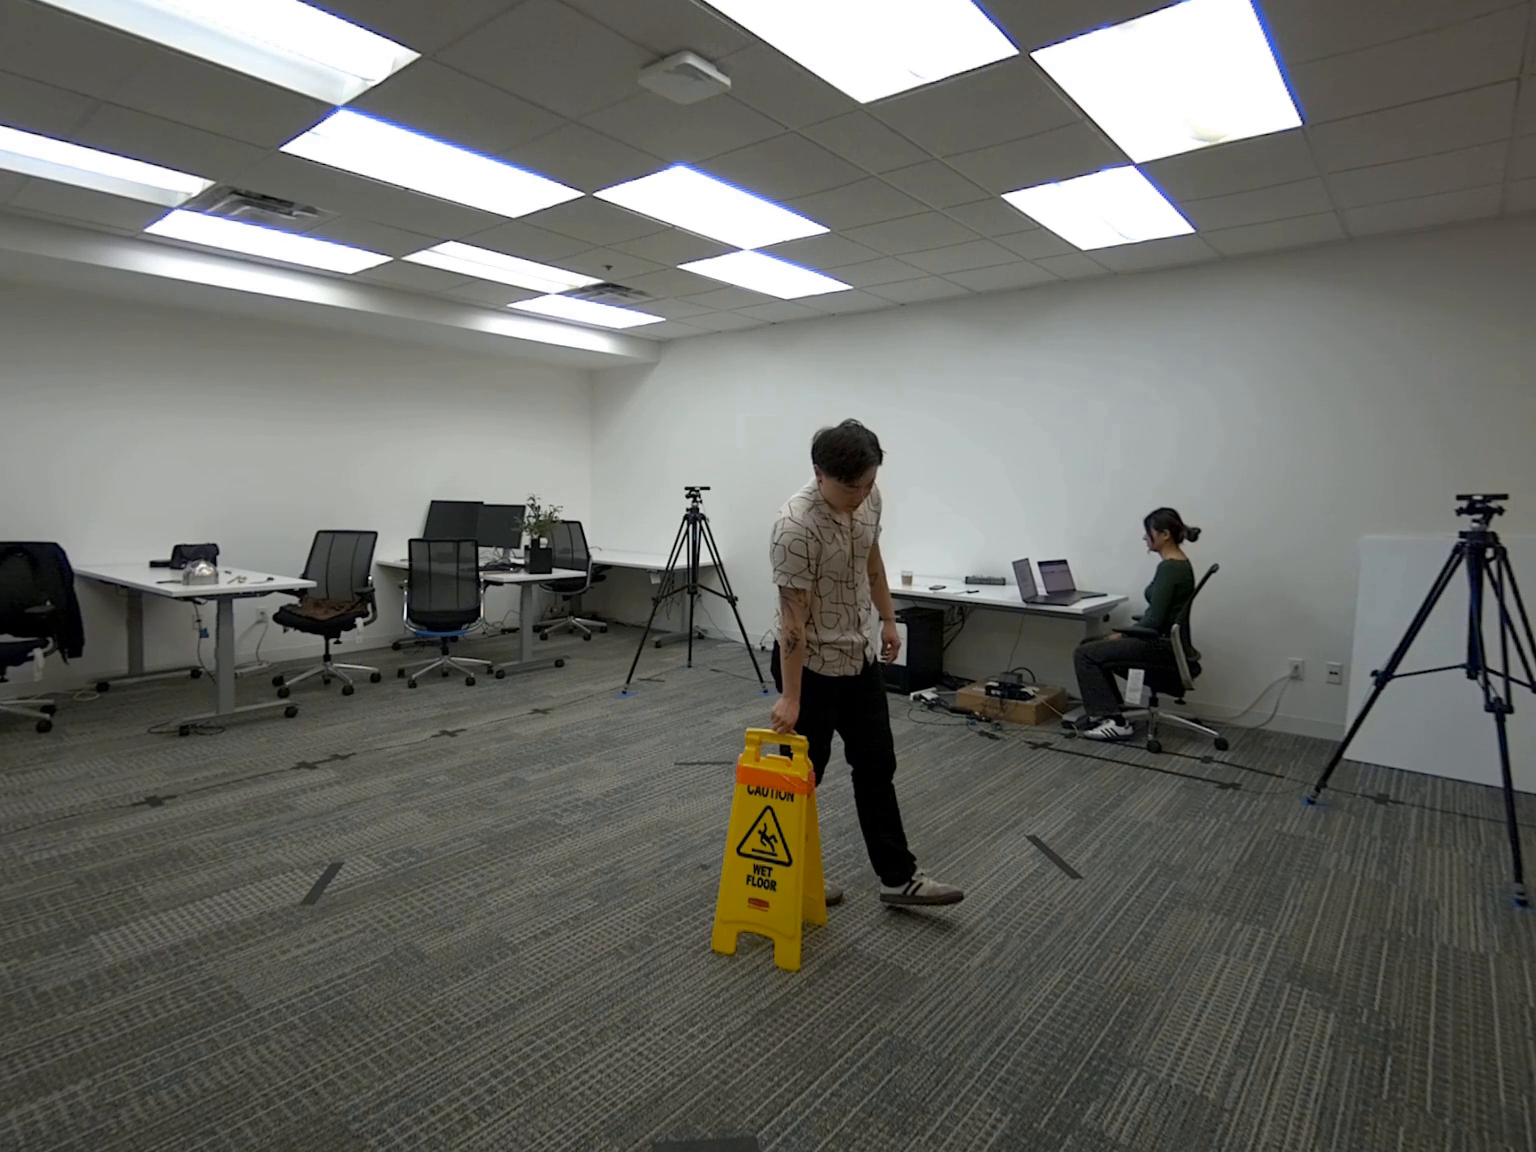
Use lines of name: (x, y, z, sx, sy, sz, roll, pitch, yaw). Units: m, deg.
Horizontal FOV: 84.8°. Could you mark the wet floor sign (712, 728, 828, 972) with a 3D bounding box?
wet floor sign: (0.010, 0.793, 2.624, 0.289, 0.644, 0.283, 3, 3, 22)
